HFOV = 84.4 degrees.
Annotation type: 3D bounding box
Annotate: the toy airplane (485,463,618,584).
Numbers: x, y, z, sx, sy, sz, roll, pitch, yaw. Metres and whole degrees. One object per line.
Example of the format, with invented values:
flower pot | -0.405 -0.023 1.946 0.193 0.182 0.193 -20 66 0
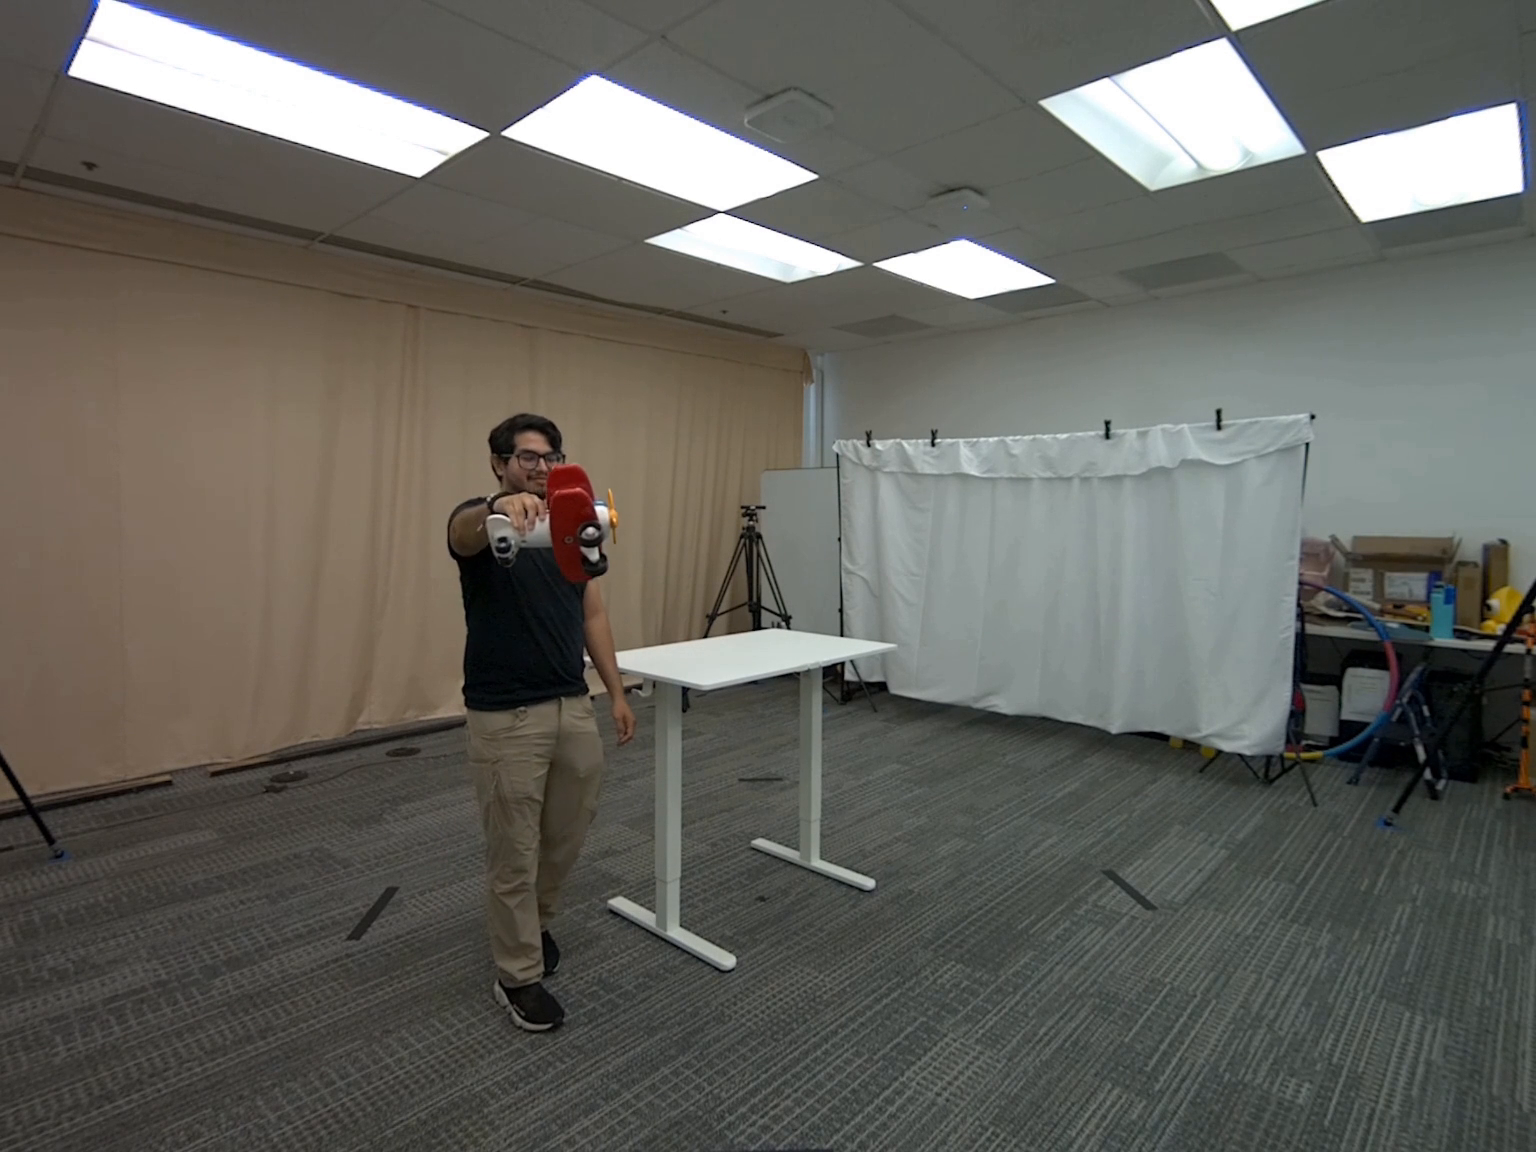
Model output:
toy airplane | -0.436 -0.103 1.685 0.253 0.252 0.159 24 38 -21
